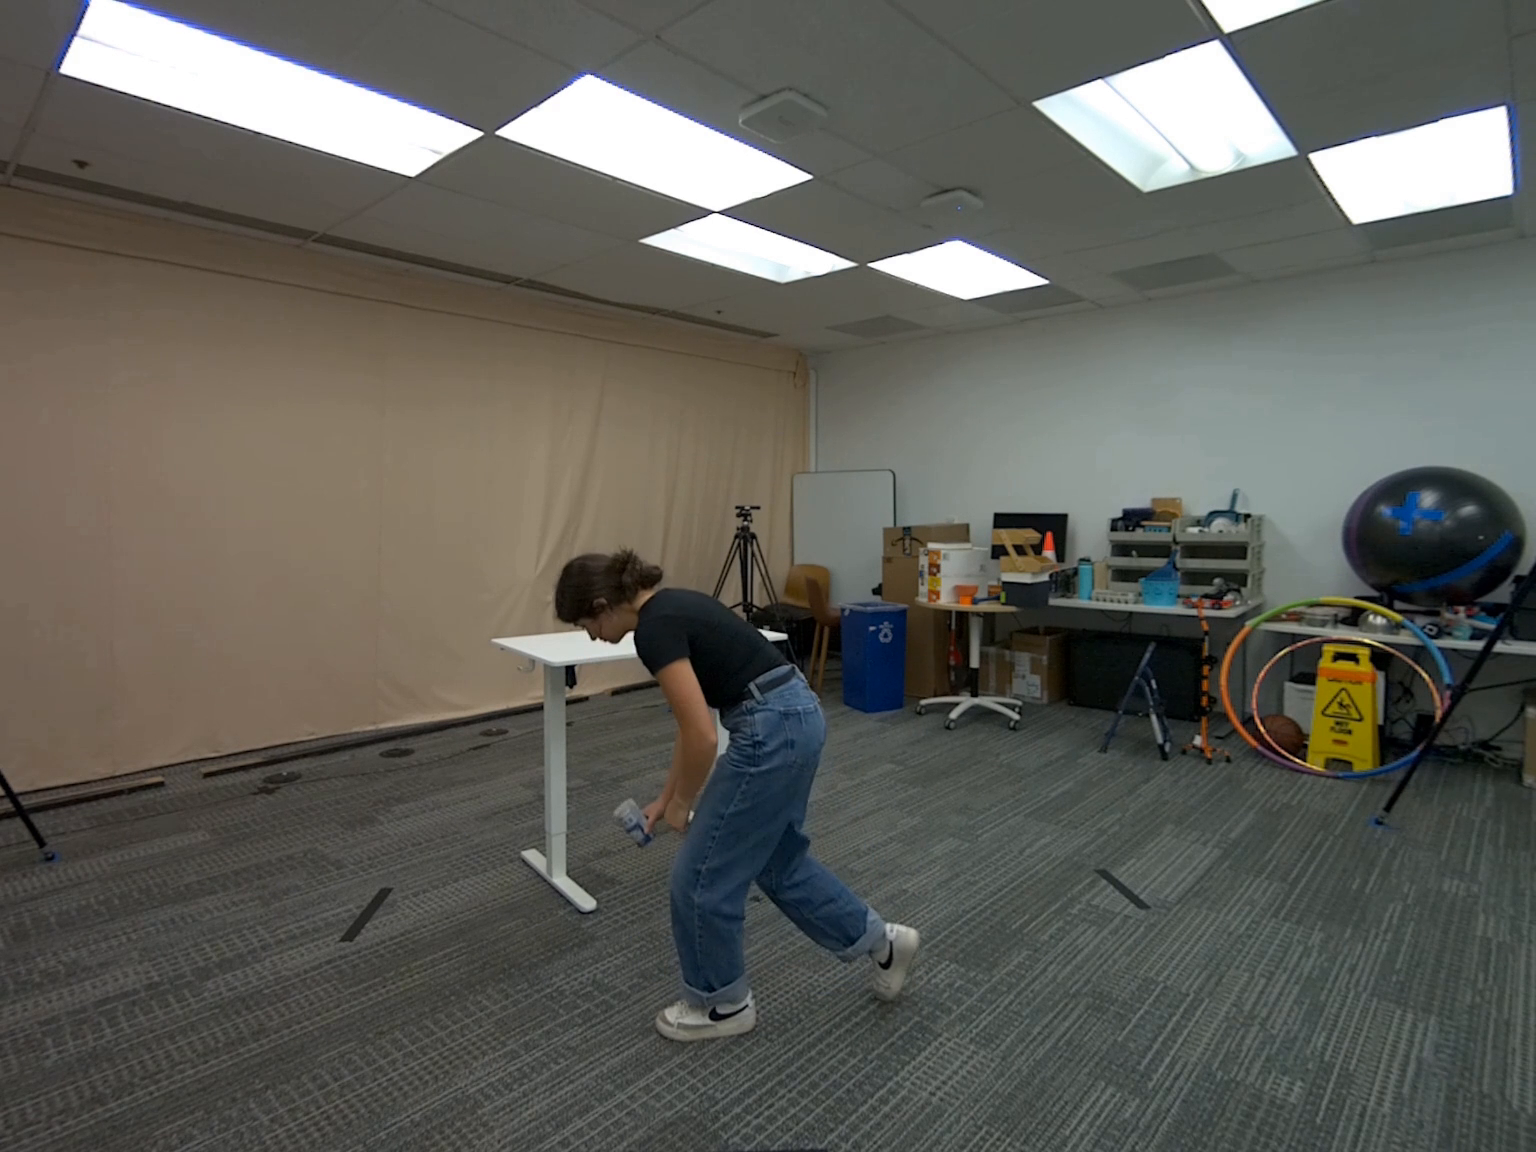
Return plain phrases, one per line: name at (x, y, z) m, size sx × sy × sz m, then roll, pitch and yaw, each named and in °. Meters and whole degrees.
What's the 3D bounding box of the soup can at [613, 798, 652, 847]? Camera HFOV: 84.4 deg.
soup can at (-0.356, 0.697, 2.325) m, size 0.067 × 0.120 × 0.067 m, roll -34°, pitch 9°, yaw 4°
